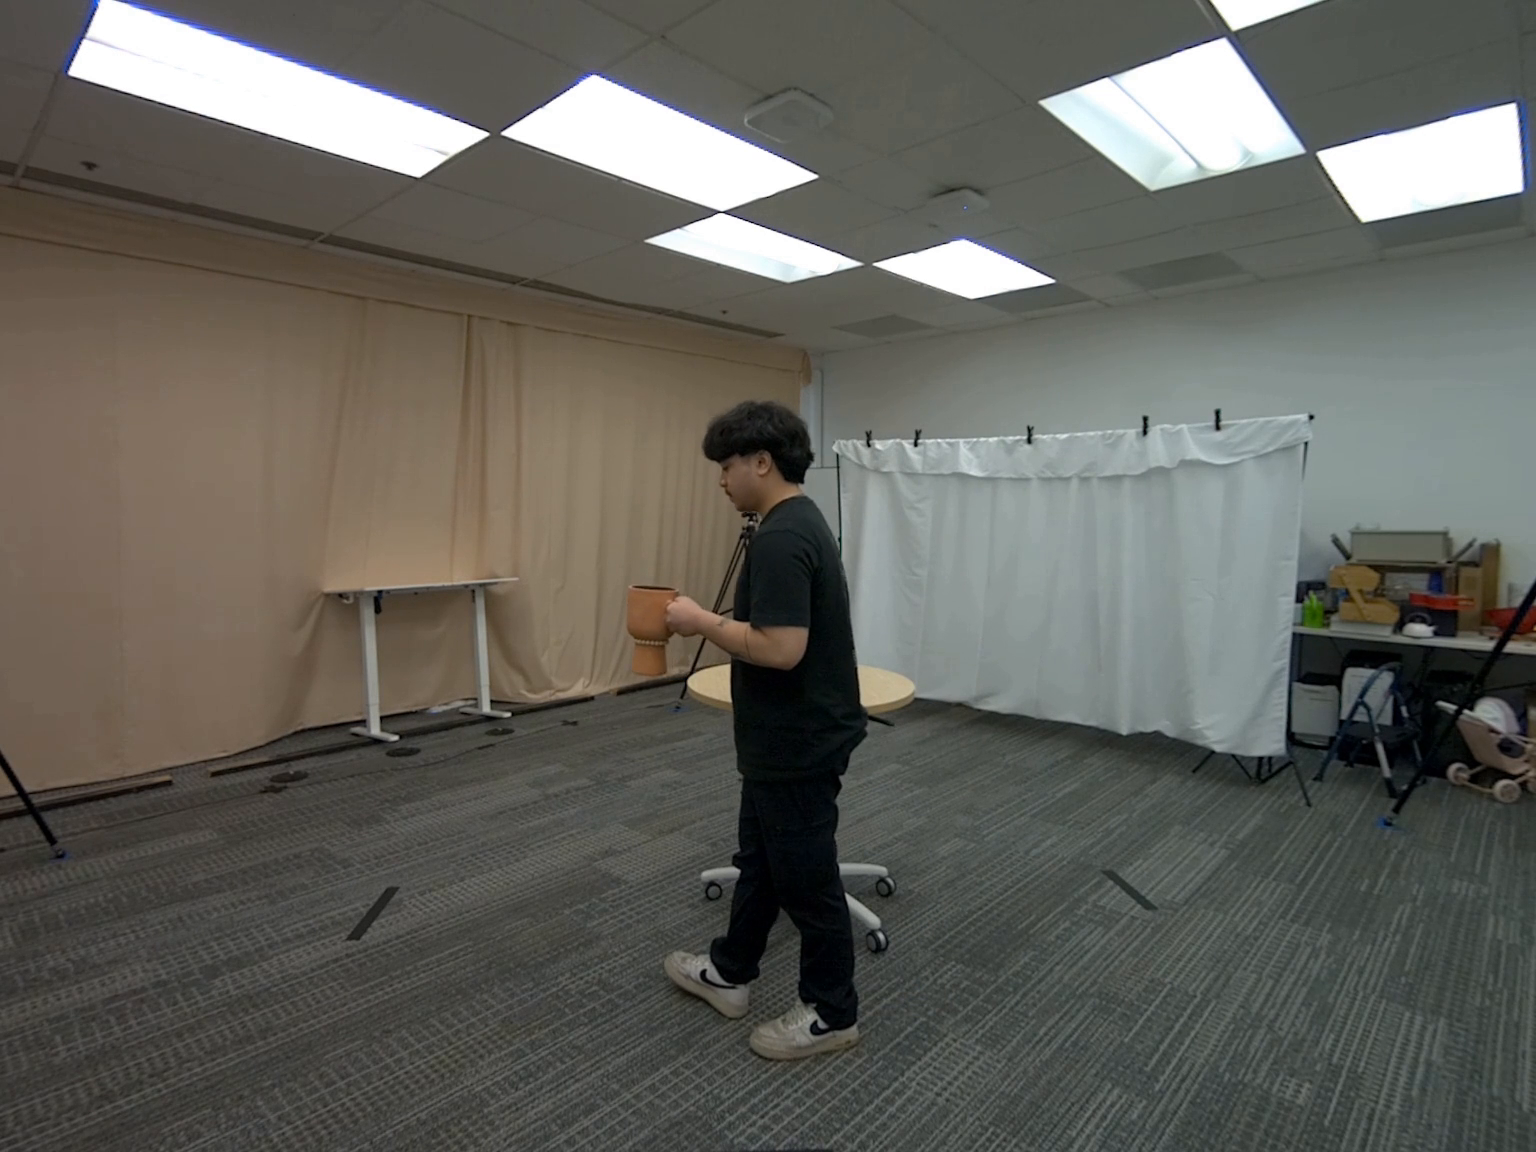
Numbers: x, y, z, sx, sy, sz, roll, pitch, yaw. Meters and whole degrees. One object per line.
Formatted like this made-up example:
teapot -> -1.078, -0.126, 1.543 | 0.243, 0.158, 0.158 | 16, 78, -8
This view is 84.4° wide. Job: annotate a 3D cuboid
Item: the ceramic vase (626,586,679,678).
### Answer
ceramic vase -> -0.299, 0.144, 2.178 | 0.133, 0.219, 0.160 | 4, 4, -8
